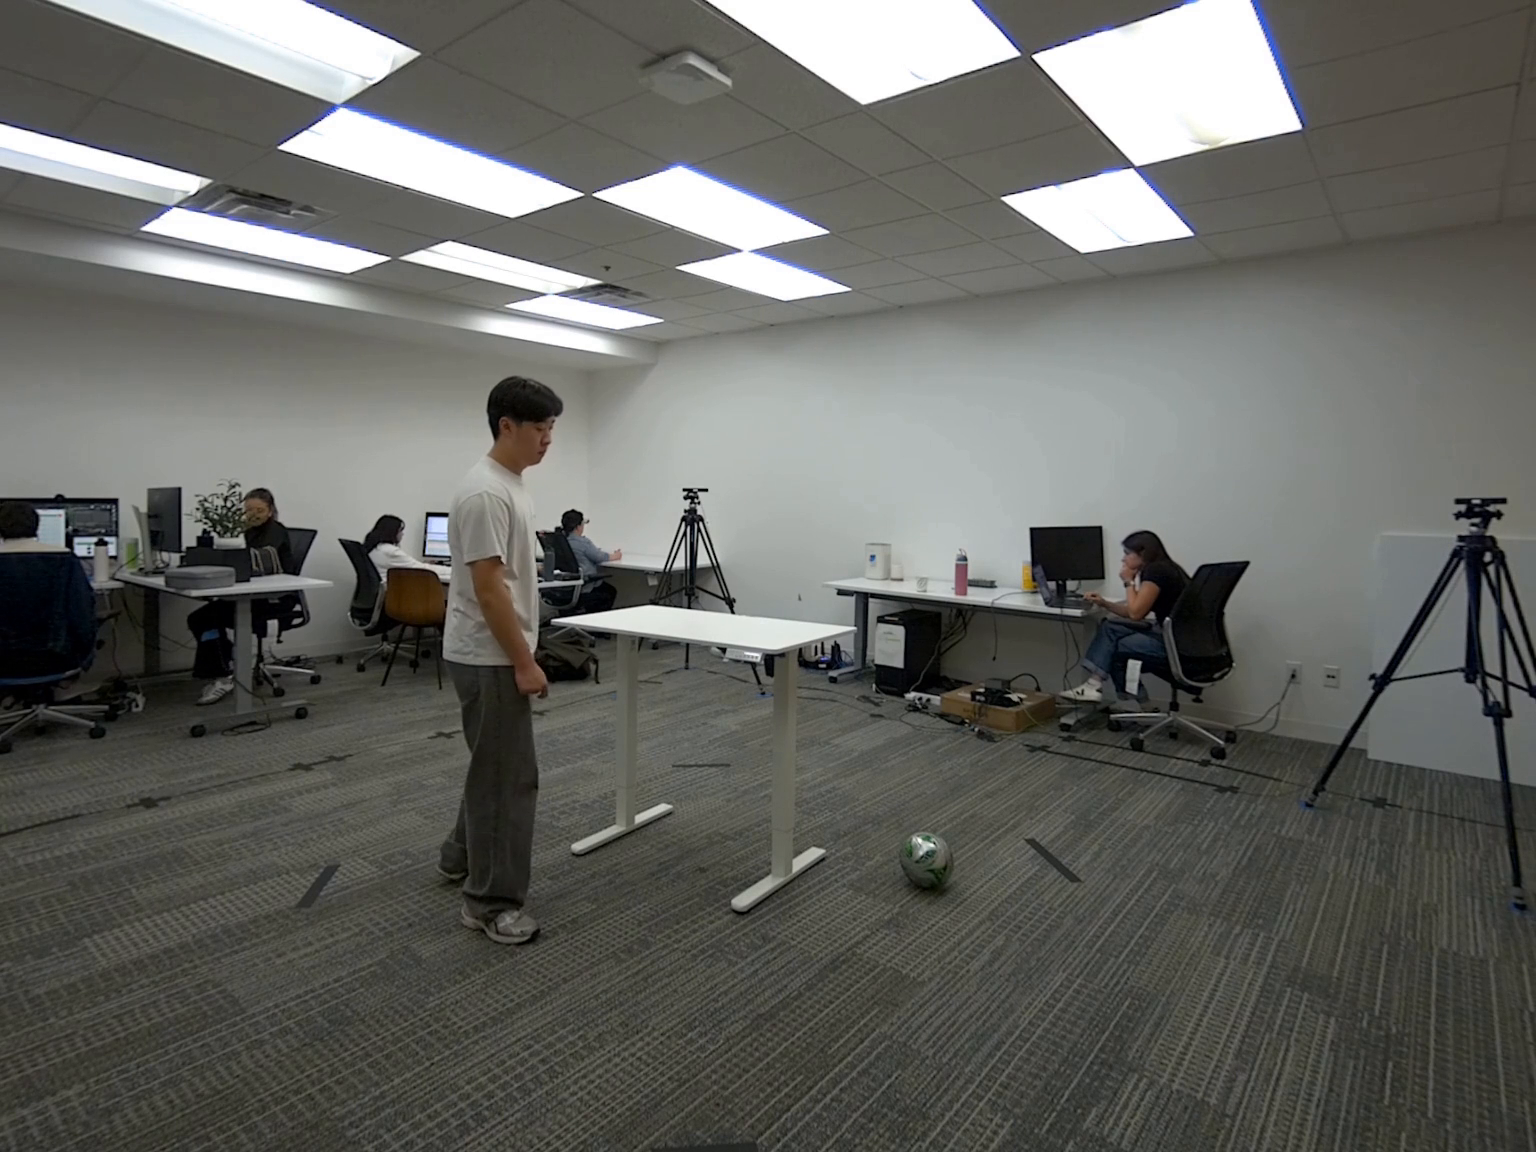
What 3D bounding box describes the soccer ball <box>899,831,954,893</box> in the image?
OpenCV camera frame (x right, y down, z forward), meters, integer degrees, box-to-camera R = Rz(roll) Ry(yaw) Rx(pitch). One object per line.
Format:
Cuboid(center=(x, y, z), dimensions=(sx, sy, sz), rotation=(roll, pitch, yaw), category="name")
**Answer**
Cuboid(center=(0.564, 1.005, 3.017), dimensions=(0.187, 0.187, 0.188), rotation=(1, 4, -2), category="soccer ball")
